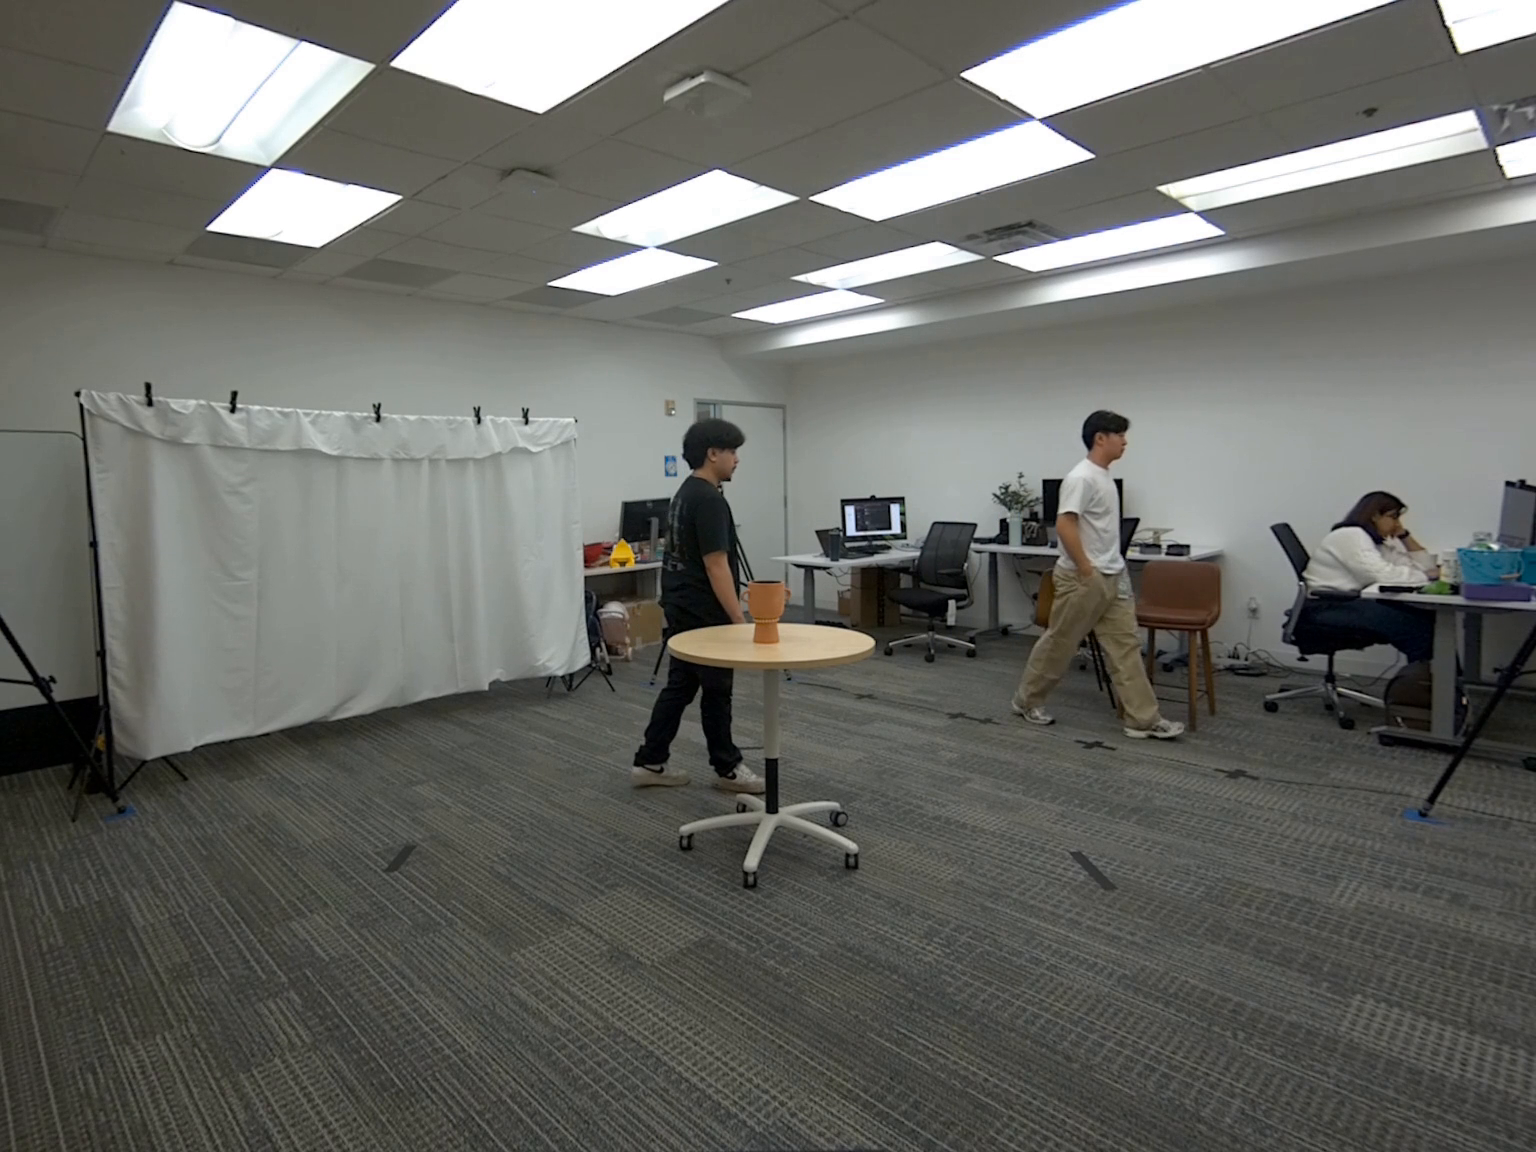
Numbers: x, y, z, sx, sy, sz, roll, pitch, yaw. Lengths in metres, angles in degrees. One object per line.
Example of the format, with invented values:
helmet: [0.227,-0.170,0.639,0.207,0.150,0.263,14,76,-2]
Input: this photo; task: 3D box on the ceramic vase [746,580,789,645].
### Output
ceramic vase: [-0.005,0.132,3.155,0.162,0.219,0.132,1,4,20]
